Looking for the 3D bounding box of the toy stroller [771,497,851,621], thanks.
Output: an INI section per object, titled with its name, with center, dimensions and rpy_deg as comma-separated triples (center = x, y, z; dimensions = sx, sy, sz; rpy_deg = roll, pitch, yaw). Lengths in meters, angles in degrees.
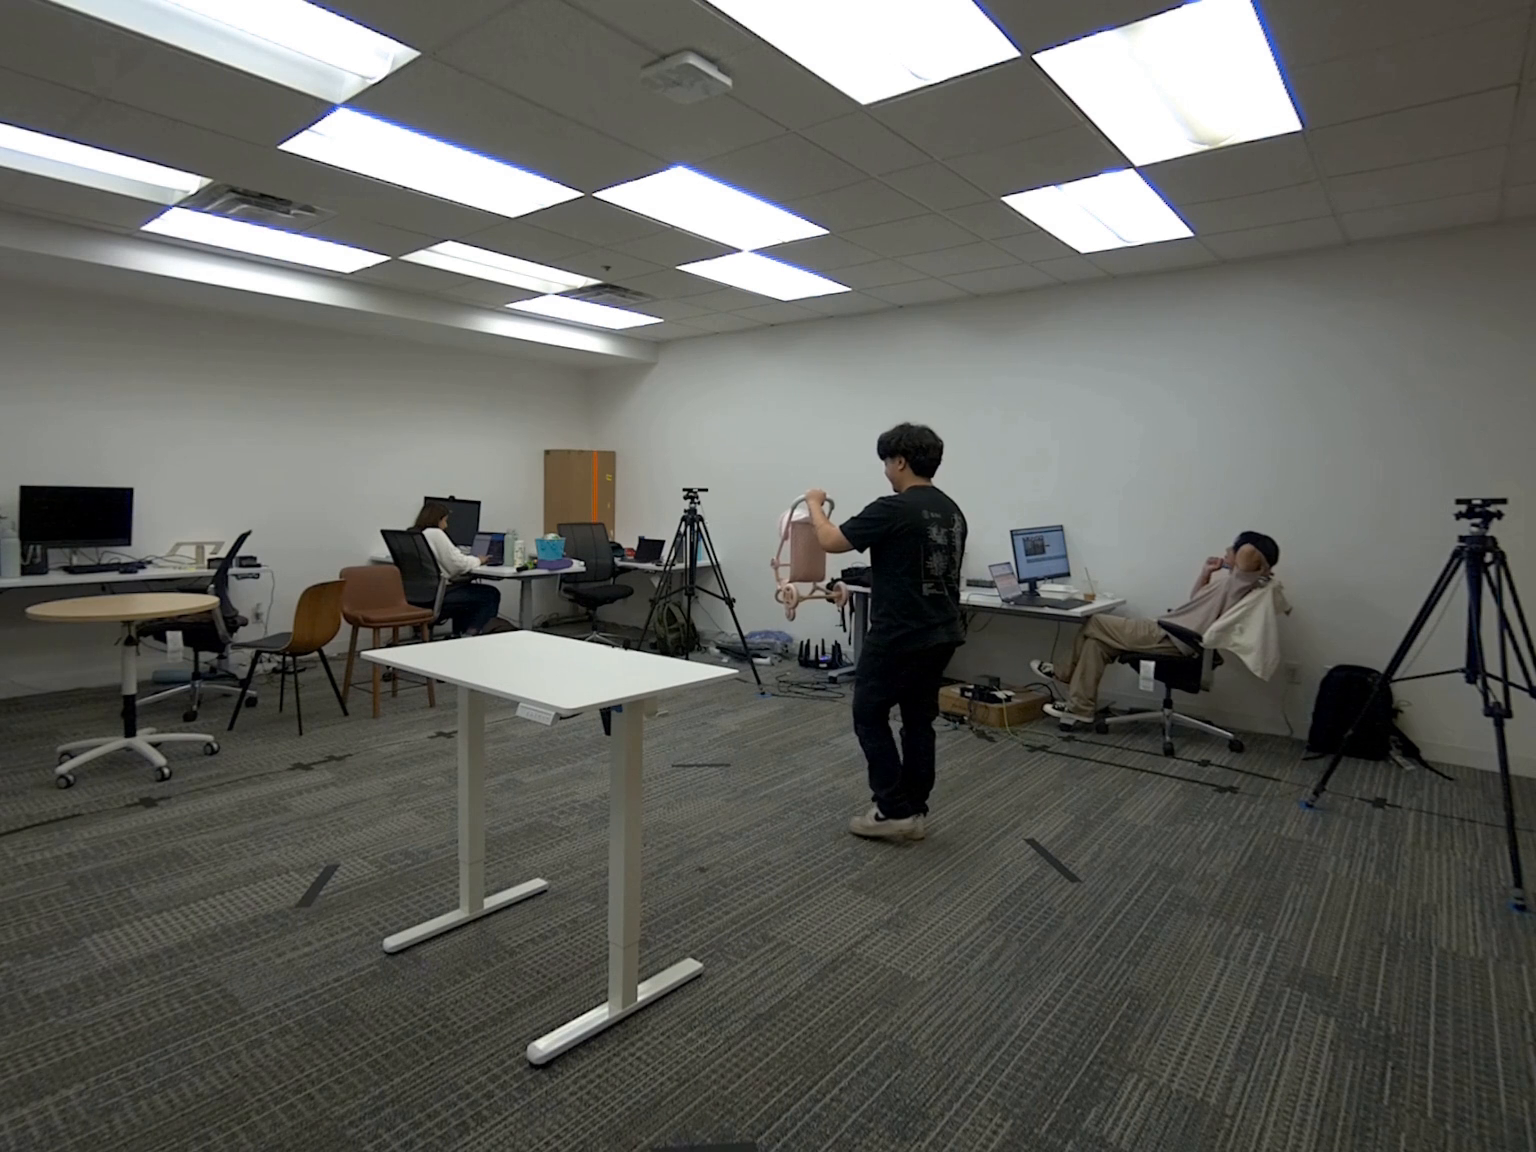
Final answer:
[toy stroller]
center = 0.141, -0.071, 3.776
dimensions = 0.275, 0.537, 0.347
rpy_deg = -2, -4, -22
